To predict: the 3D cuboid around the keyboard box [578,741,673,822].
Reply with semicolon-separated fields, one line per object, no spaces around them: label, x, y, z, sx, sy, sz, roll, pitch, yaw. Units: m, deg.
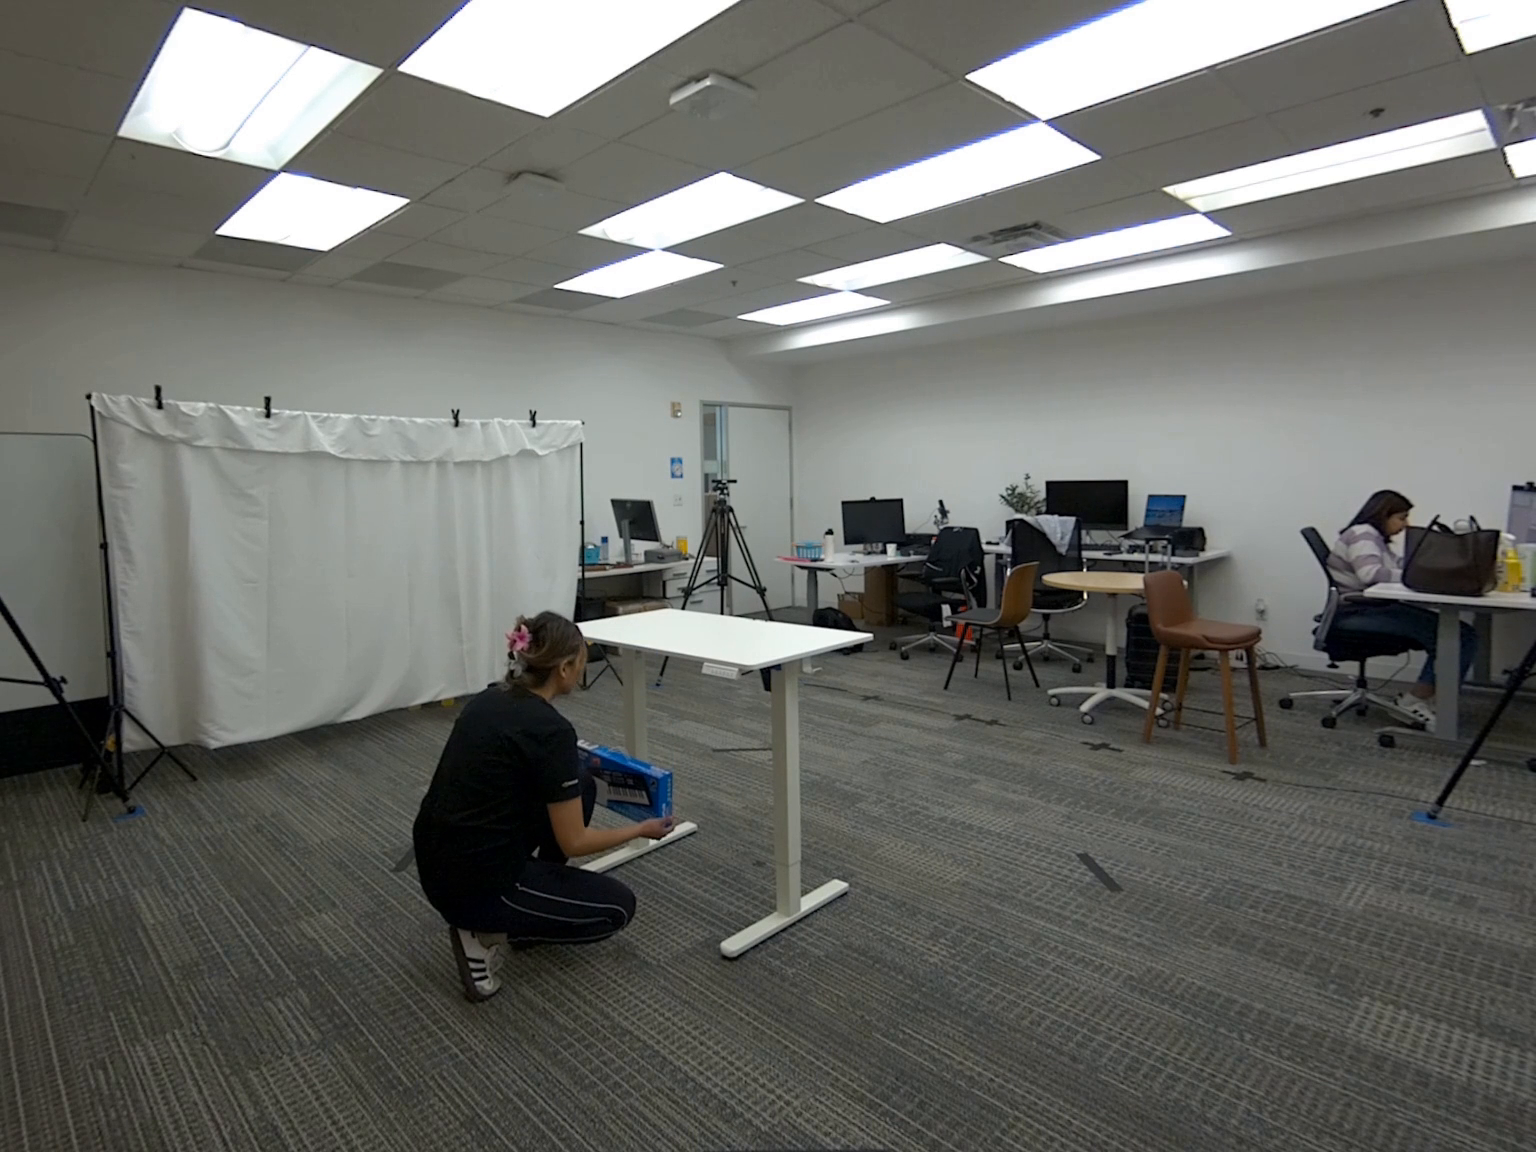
keyboard box;-0.471;0.669;2.731;0.451;0.175;0.057;8;9;40
